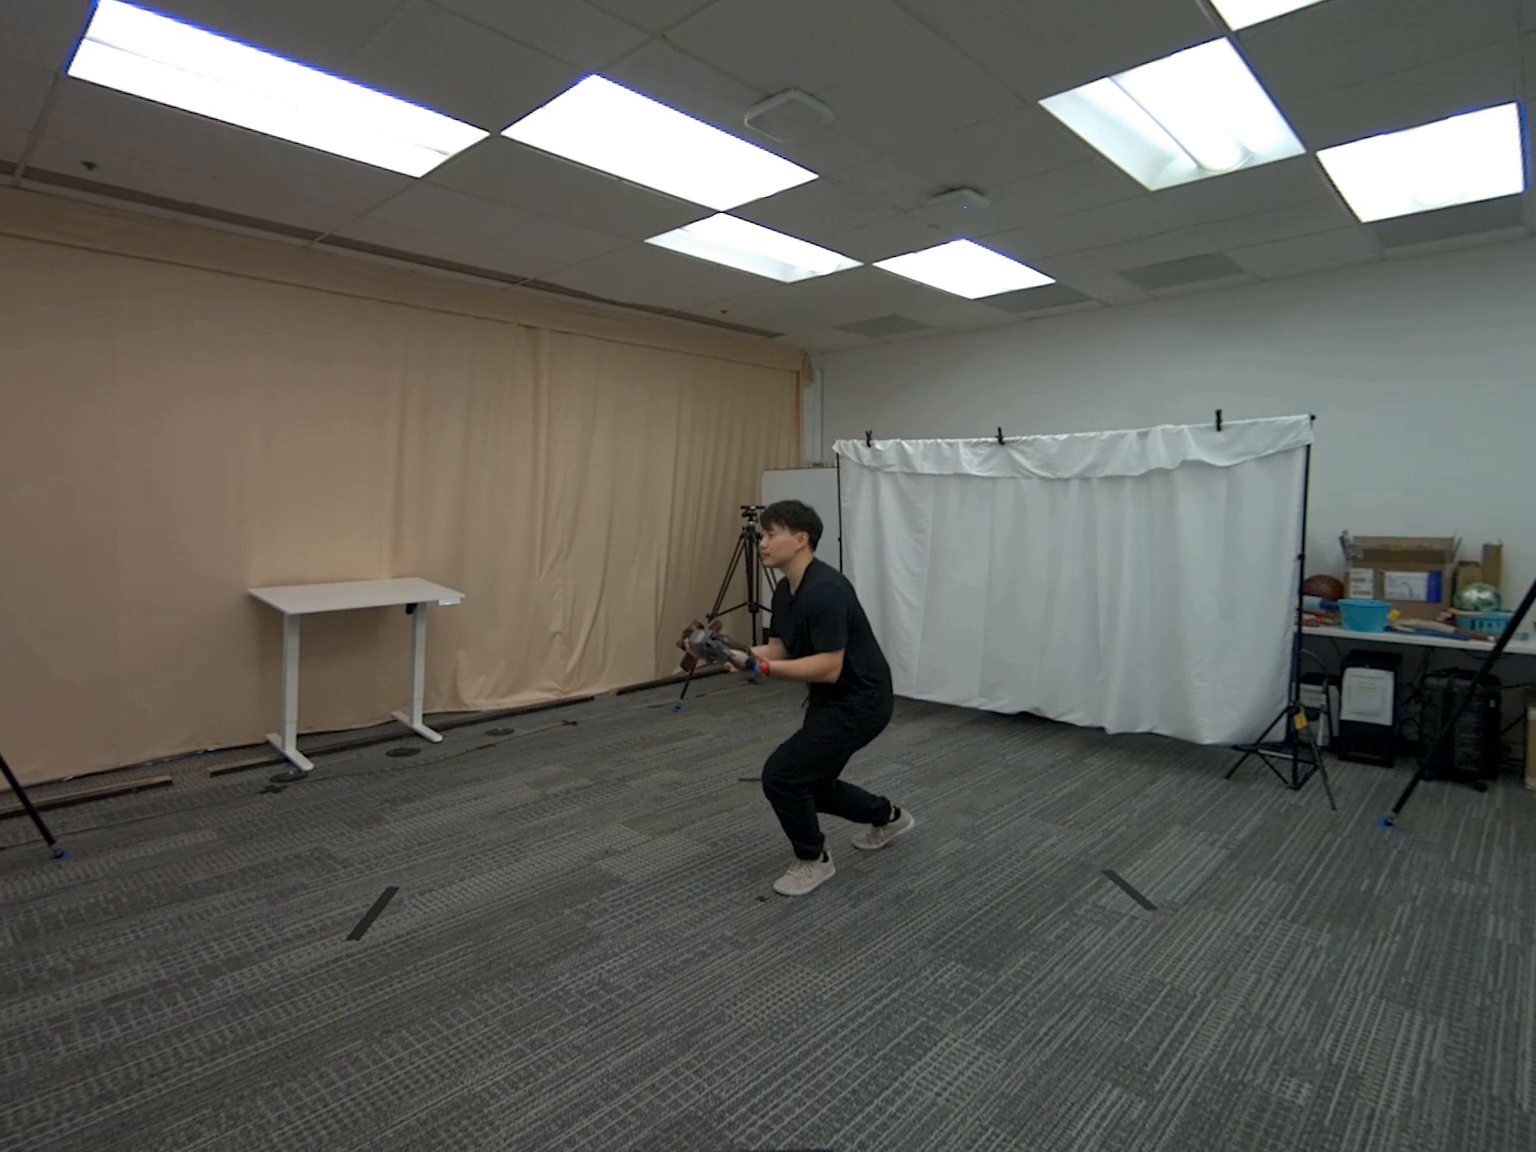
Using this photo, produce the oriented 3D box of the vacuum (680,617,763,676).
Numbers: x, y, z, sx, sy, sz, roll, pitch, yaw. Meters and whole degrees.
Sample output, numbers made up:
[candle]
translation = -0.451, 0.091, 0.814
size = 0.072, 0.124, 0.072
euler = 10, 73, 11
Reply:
[vacuum]
translation = -0.160, 0.270, 3.000
size = 0.142, 0.252, 1.063
euler = 39, -10, -12
